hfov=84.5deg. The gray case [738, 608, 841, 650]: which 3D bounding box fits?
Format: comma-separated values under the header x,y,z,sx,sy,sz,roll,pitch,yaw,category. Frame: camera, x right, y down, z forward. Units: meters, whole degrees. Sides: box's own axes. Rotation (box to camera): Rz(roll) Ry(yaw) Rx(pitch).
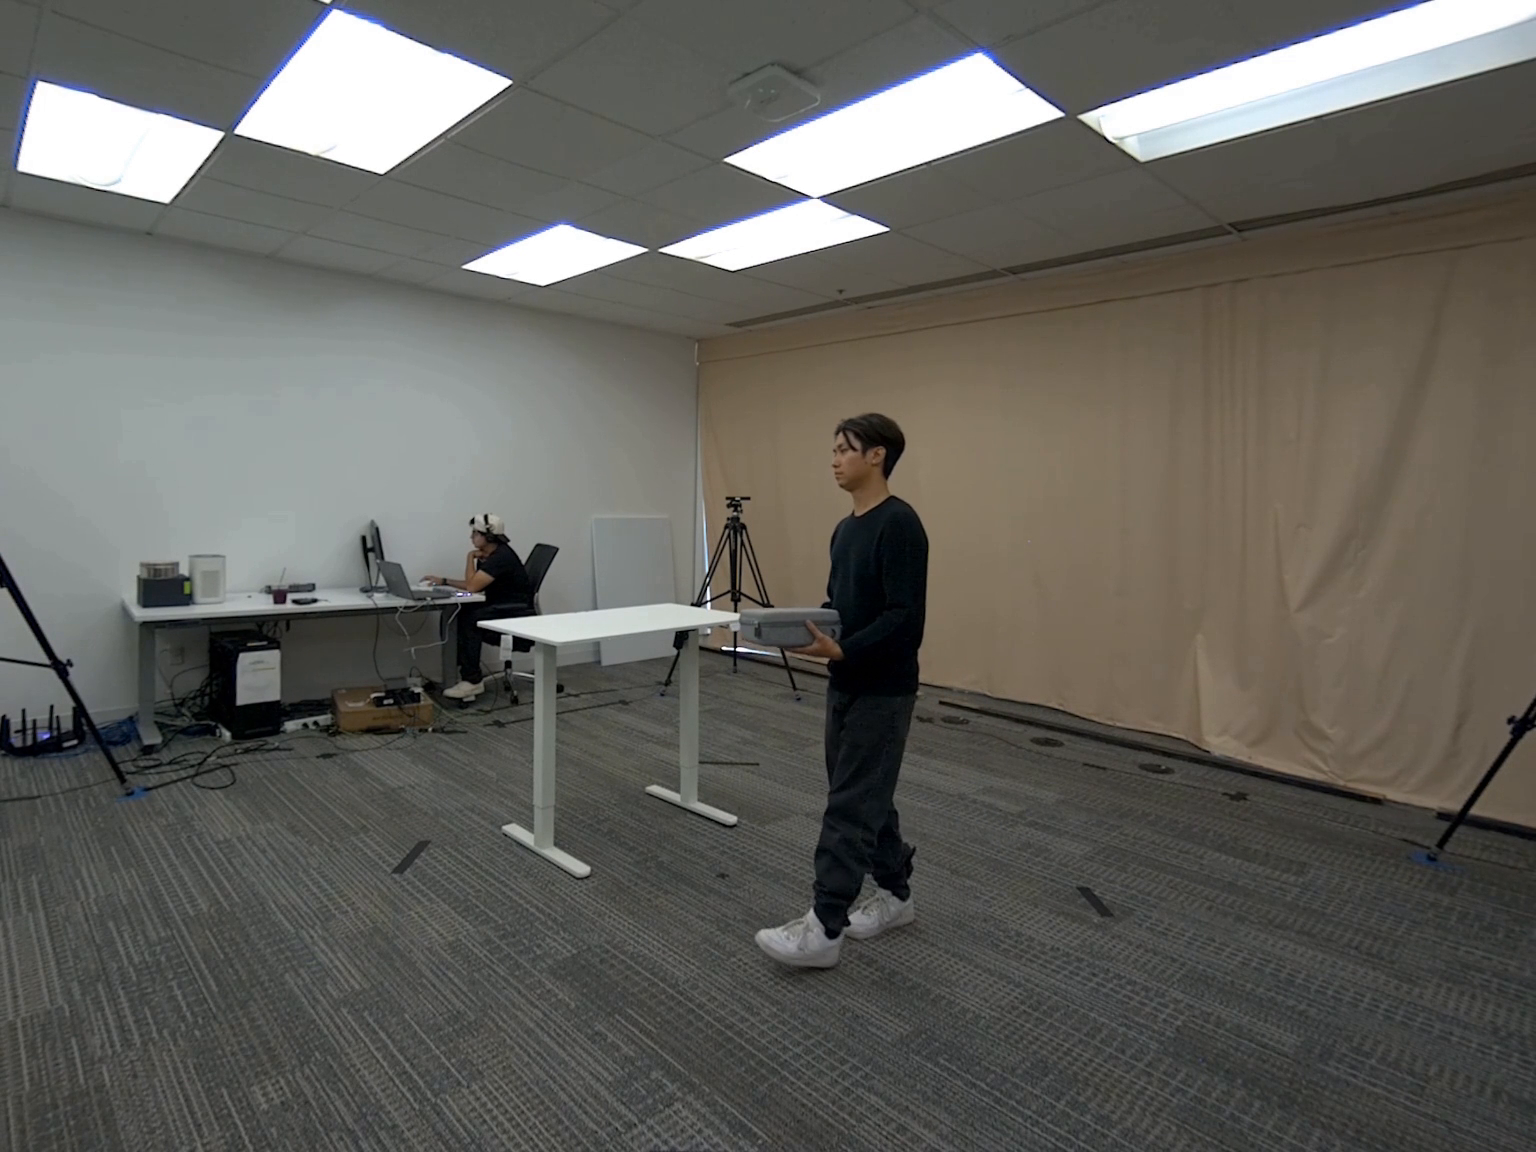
x,y,z,sx,sy,sz,roll,pitch,yaw,category
0.056,0.155,2.560,0.254,0.104,0.263,-1,-1,-14,gray case
